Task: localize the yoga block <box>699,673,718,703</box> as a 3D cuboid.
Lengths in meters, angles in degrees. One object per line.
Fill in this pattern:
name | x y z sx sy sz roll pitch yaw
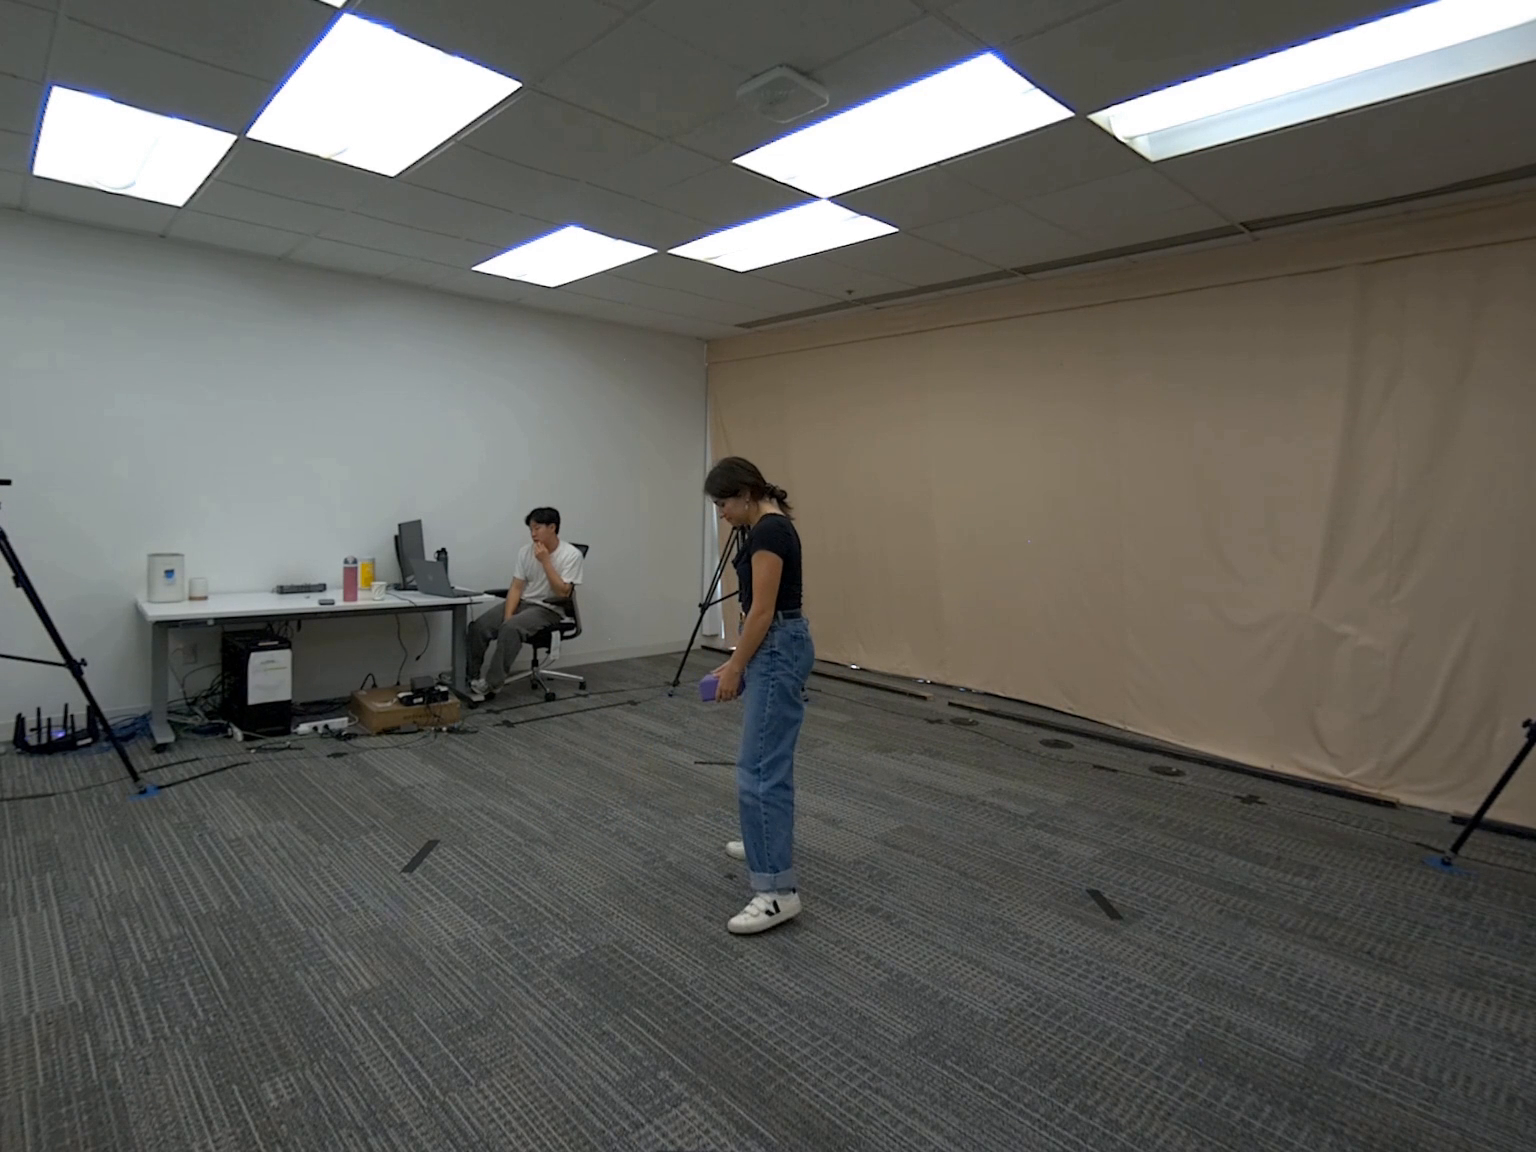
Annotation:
yoga block | -0.165 0.403 3.096 0.149 0.076 0.228 -10 0 3
